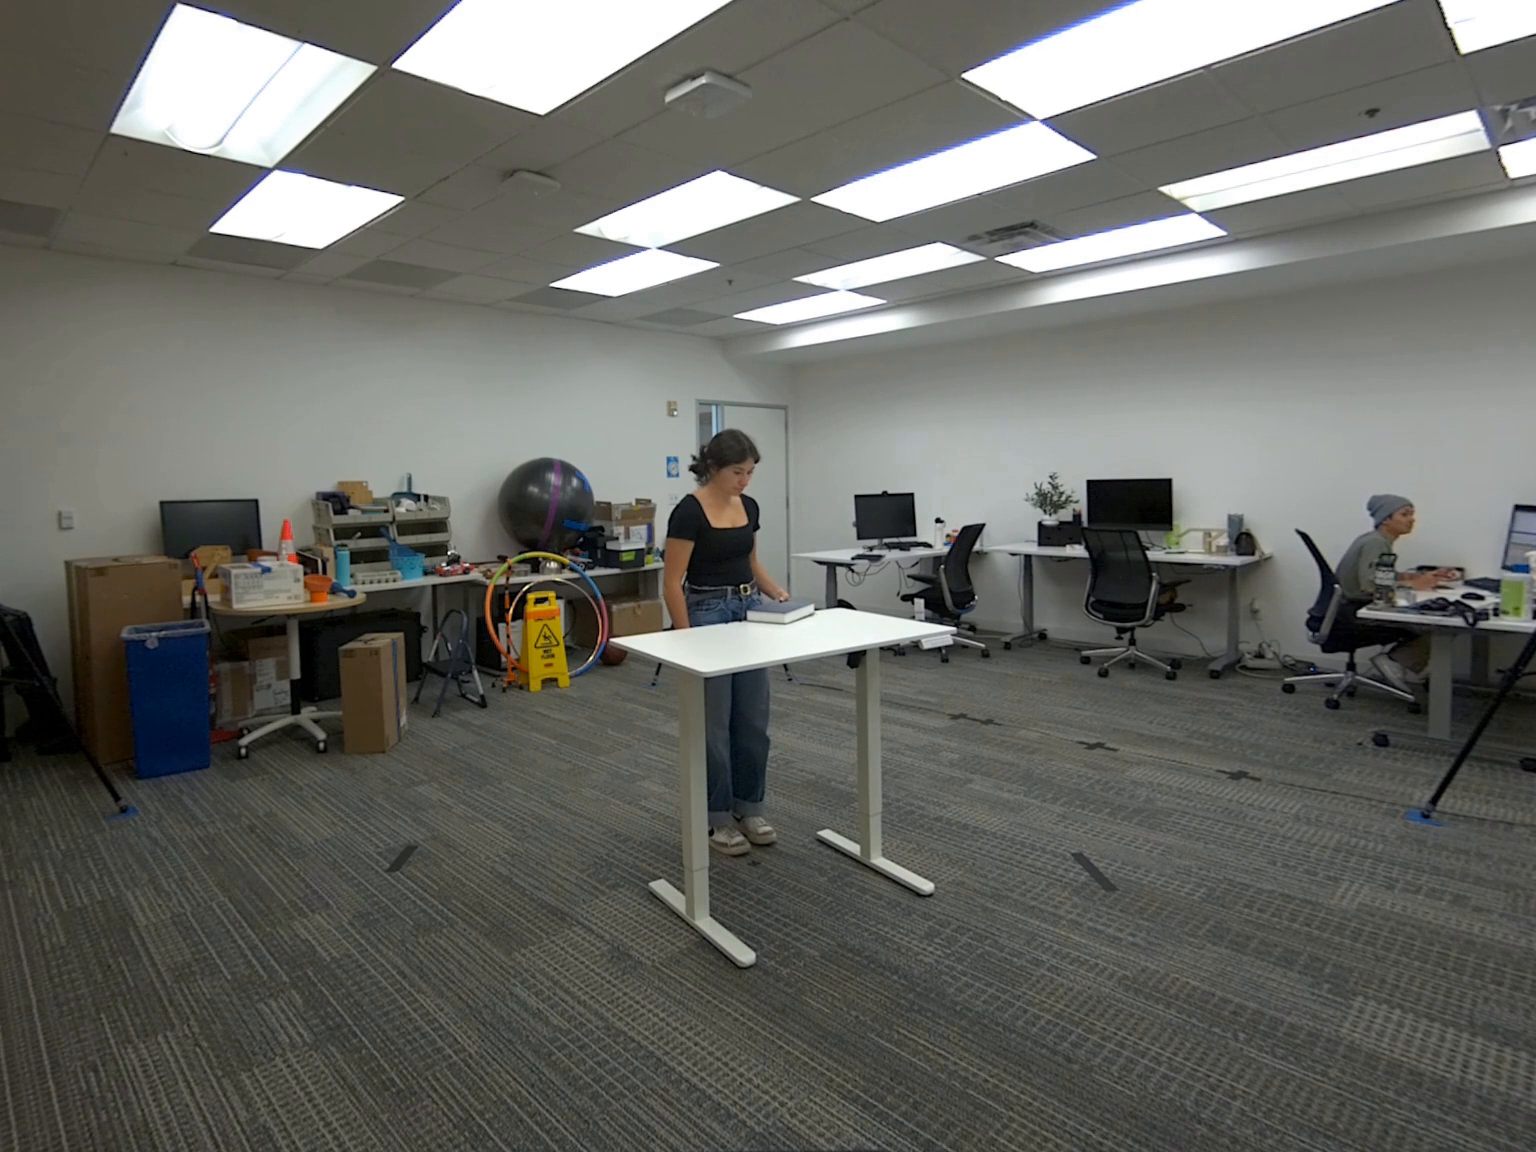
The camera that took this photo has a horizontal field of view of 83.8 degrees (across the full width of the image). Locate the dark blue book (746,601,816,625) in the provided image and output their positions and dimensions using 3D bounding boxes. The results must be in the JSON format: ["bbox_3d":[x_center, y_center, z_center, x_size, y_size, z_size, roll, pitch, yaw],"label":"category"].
[{"bbox_3d":[0.045,0.138,3.140,0.167,0.045,0.241,0,8,26],"label":"dark blue book"}]
